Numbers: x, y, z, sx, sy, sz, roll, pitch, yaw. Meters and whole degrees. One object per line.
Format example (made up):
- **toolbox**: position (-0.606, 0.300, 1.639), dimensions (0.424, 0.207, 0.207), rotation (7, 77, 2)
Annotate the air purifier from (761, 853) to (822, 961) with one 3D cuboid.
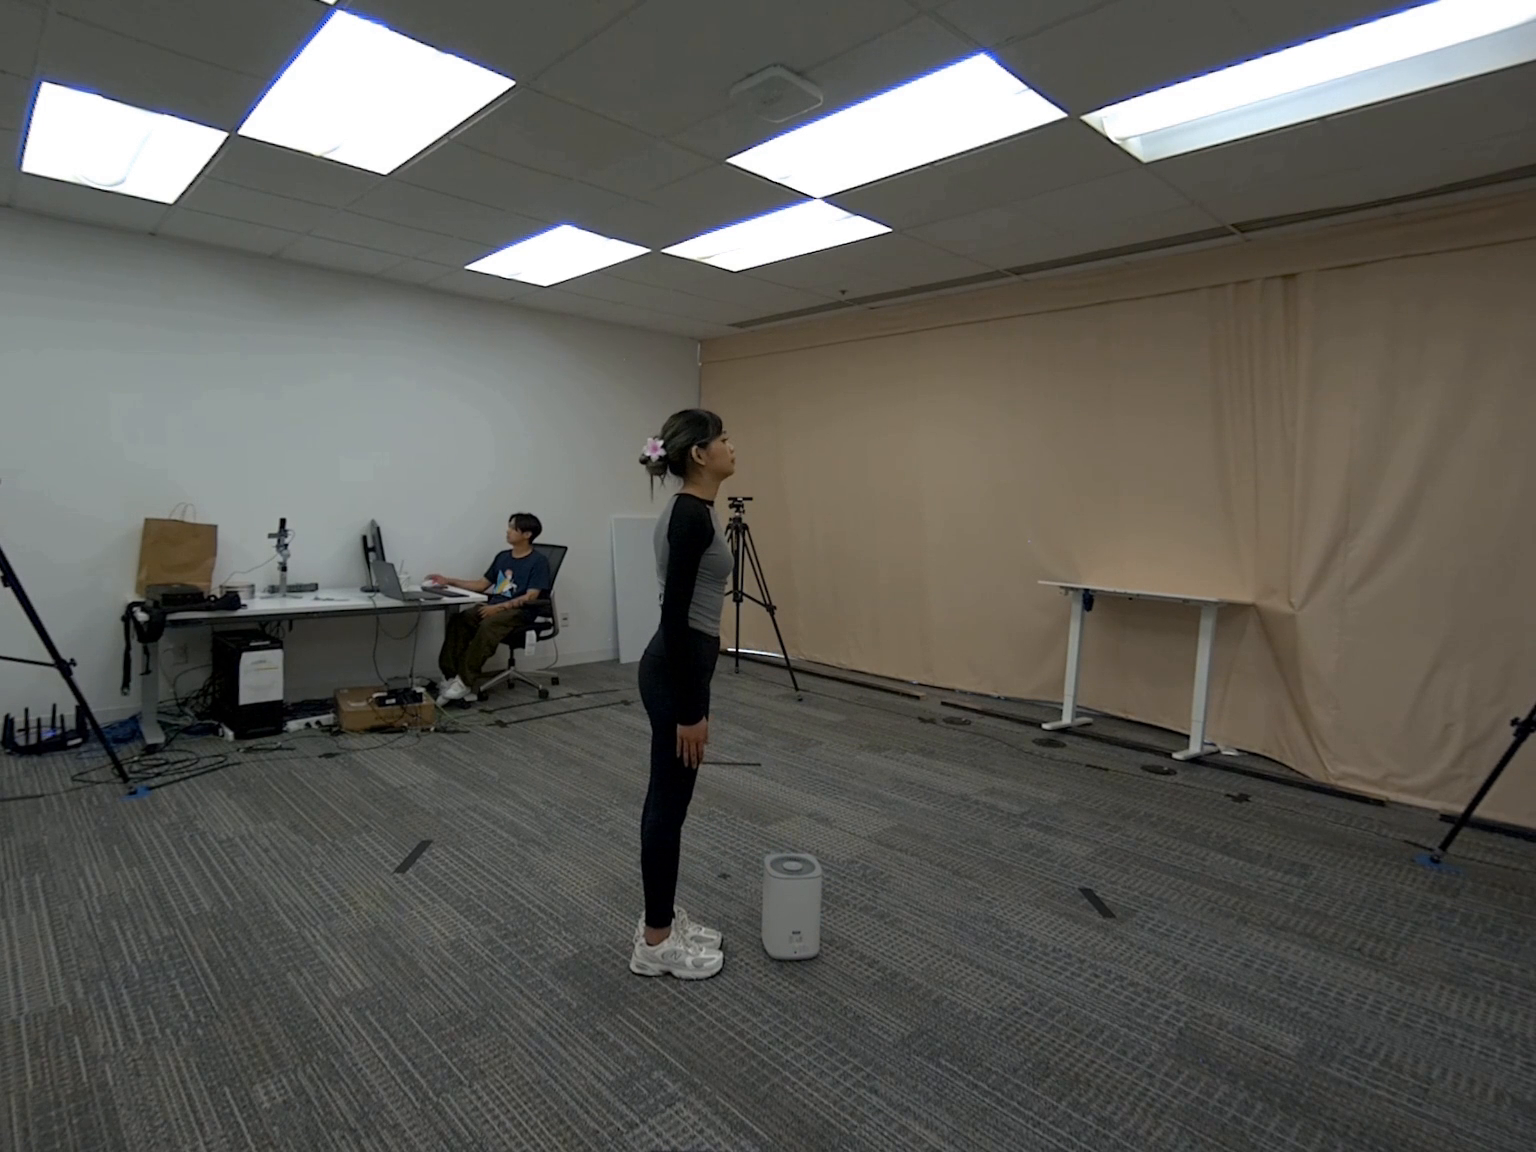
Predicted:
- **air purifier**: position (0.060, 1.022, 2.602), dimensions (0.170, 0.264, 0.173), rotation (2, 4, -10)
